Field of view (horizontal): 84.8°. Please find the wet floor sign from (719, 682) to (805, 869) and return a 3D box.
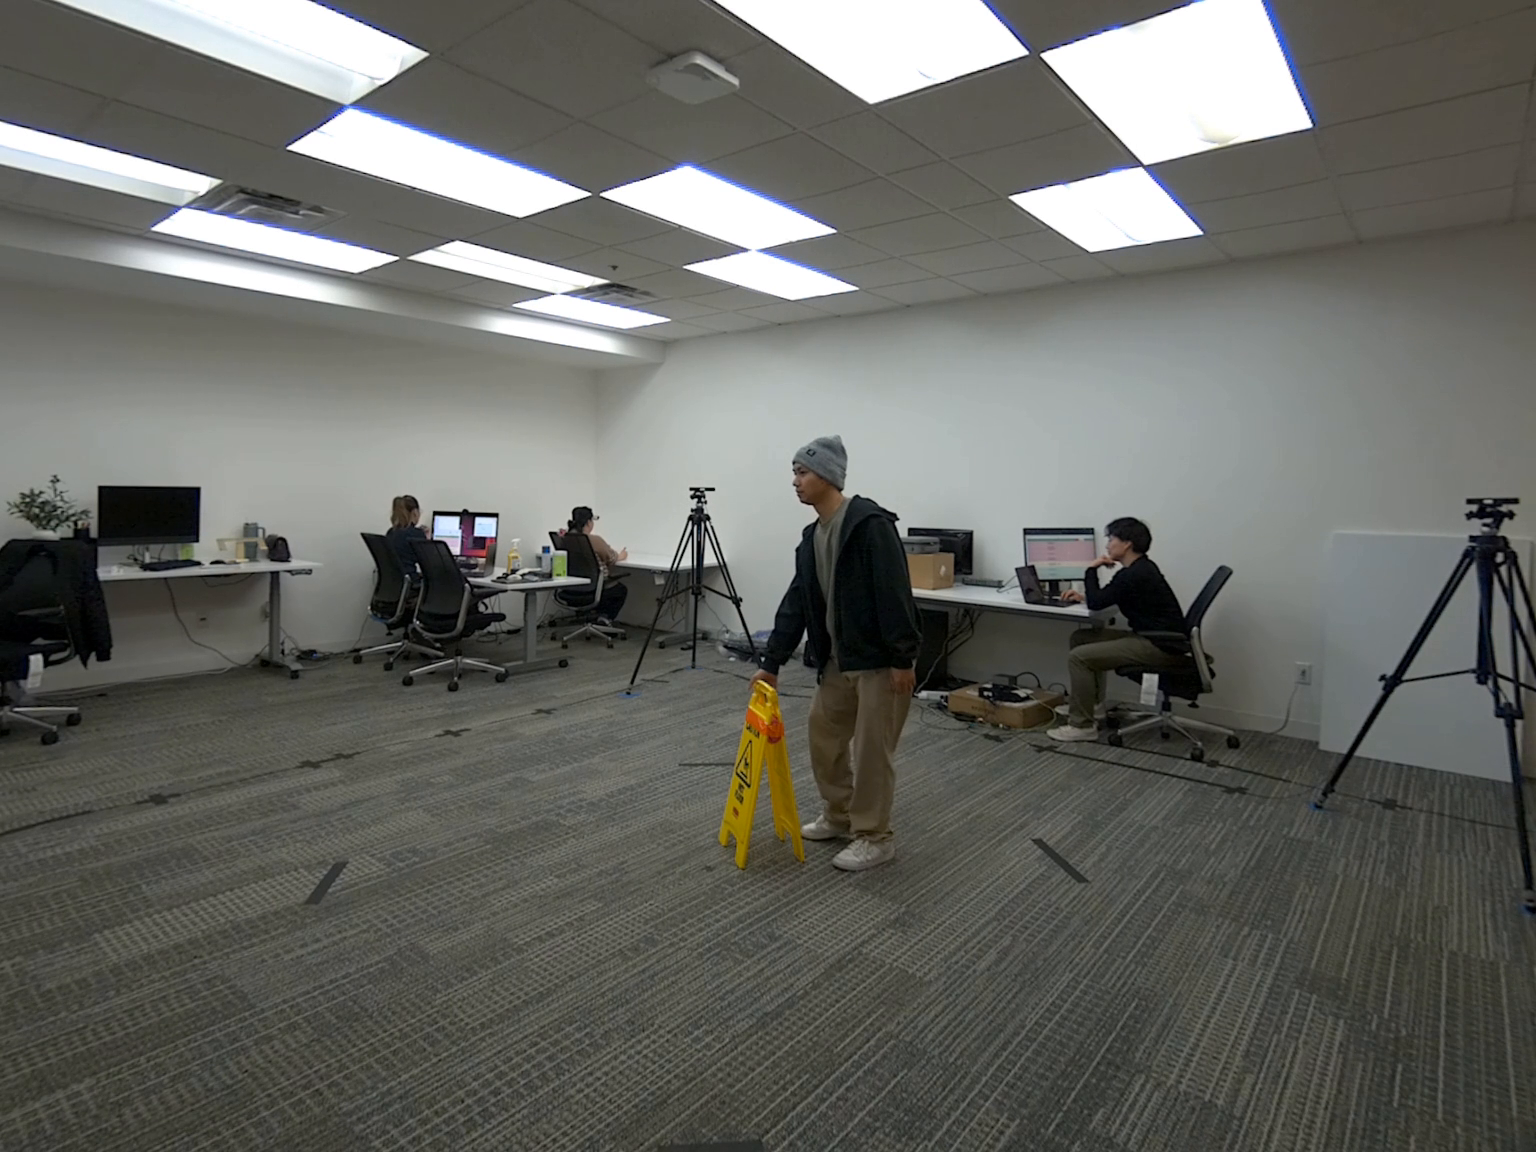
[{"bbox_3d":[-0.026,0.726,3.262,0.284,0.643,0.289,0,5,-18],"label":"wet floor sign"}]
